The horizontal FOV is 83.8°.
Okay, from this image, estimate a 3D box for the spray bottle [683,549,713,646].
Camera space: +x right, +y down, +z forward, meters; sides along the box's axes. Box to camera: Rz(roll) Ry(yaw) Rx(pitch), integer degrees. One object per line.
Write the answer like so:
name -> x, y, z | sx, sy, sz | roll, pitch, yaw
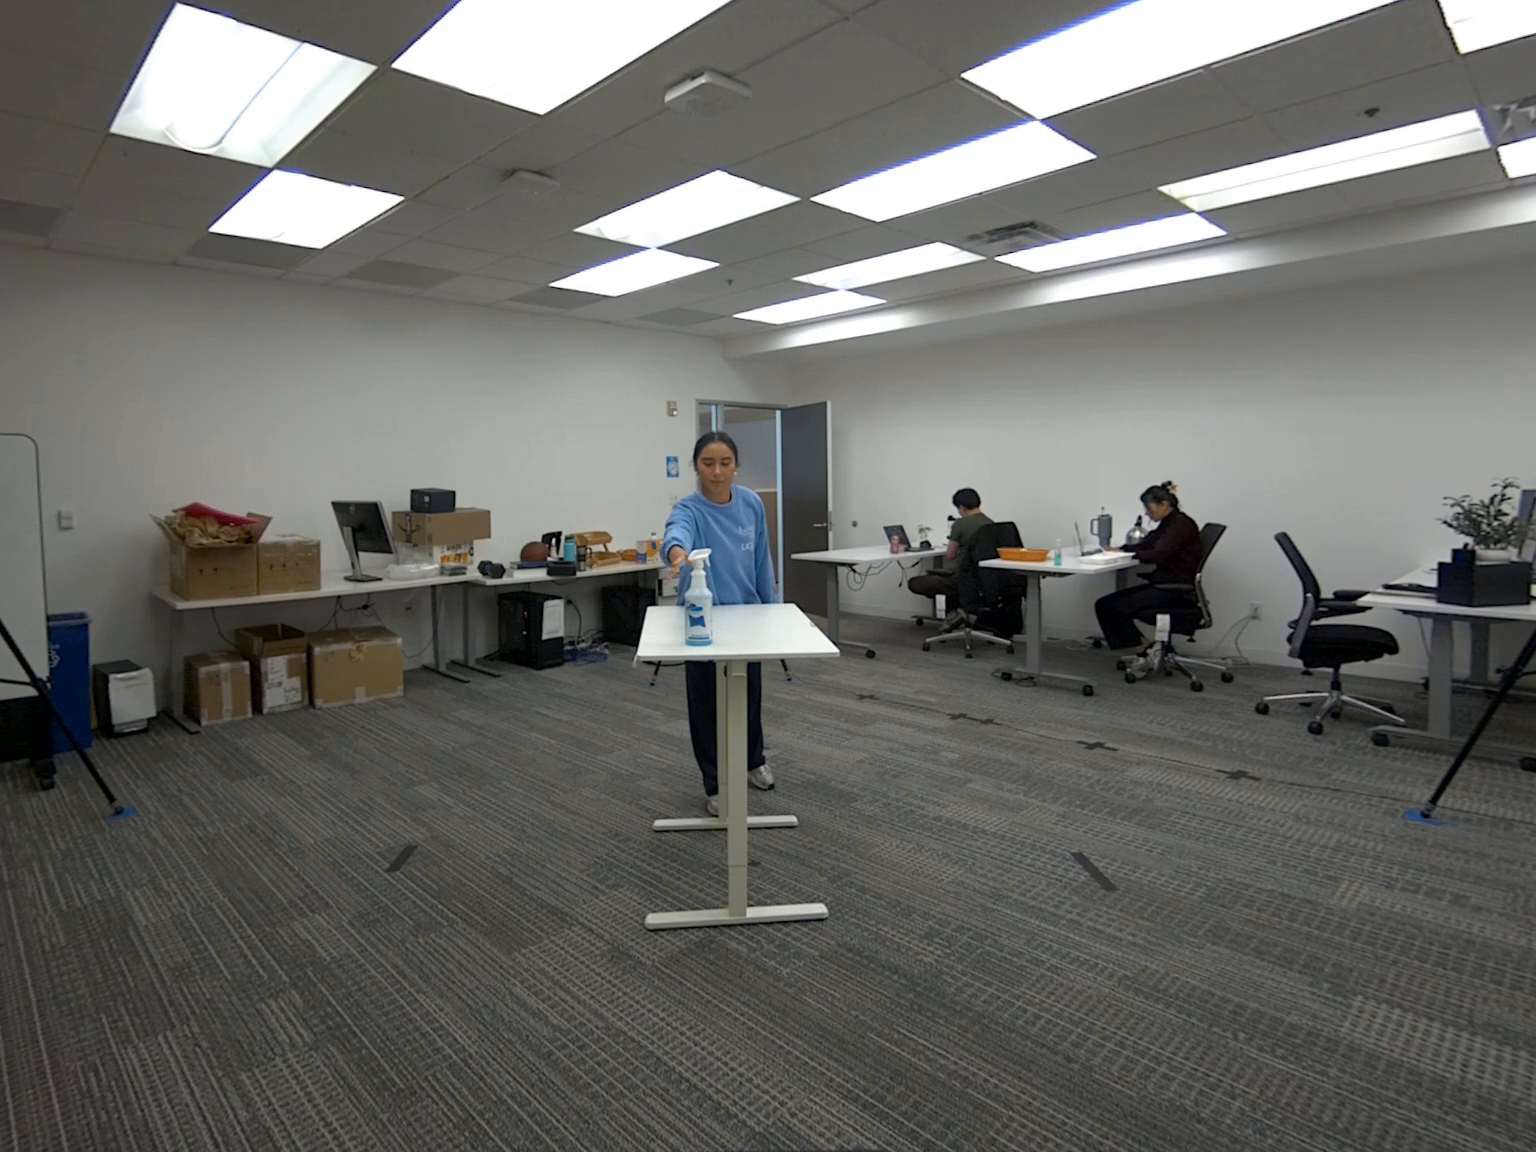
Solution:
spray bottle -> -0.219, 0.069, 2.672 | 0.088, 0.297, 0.089 | -1, 3, -21
